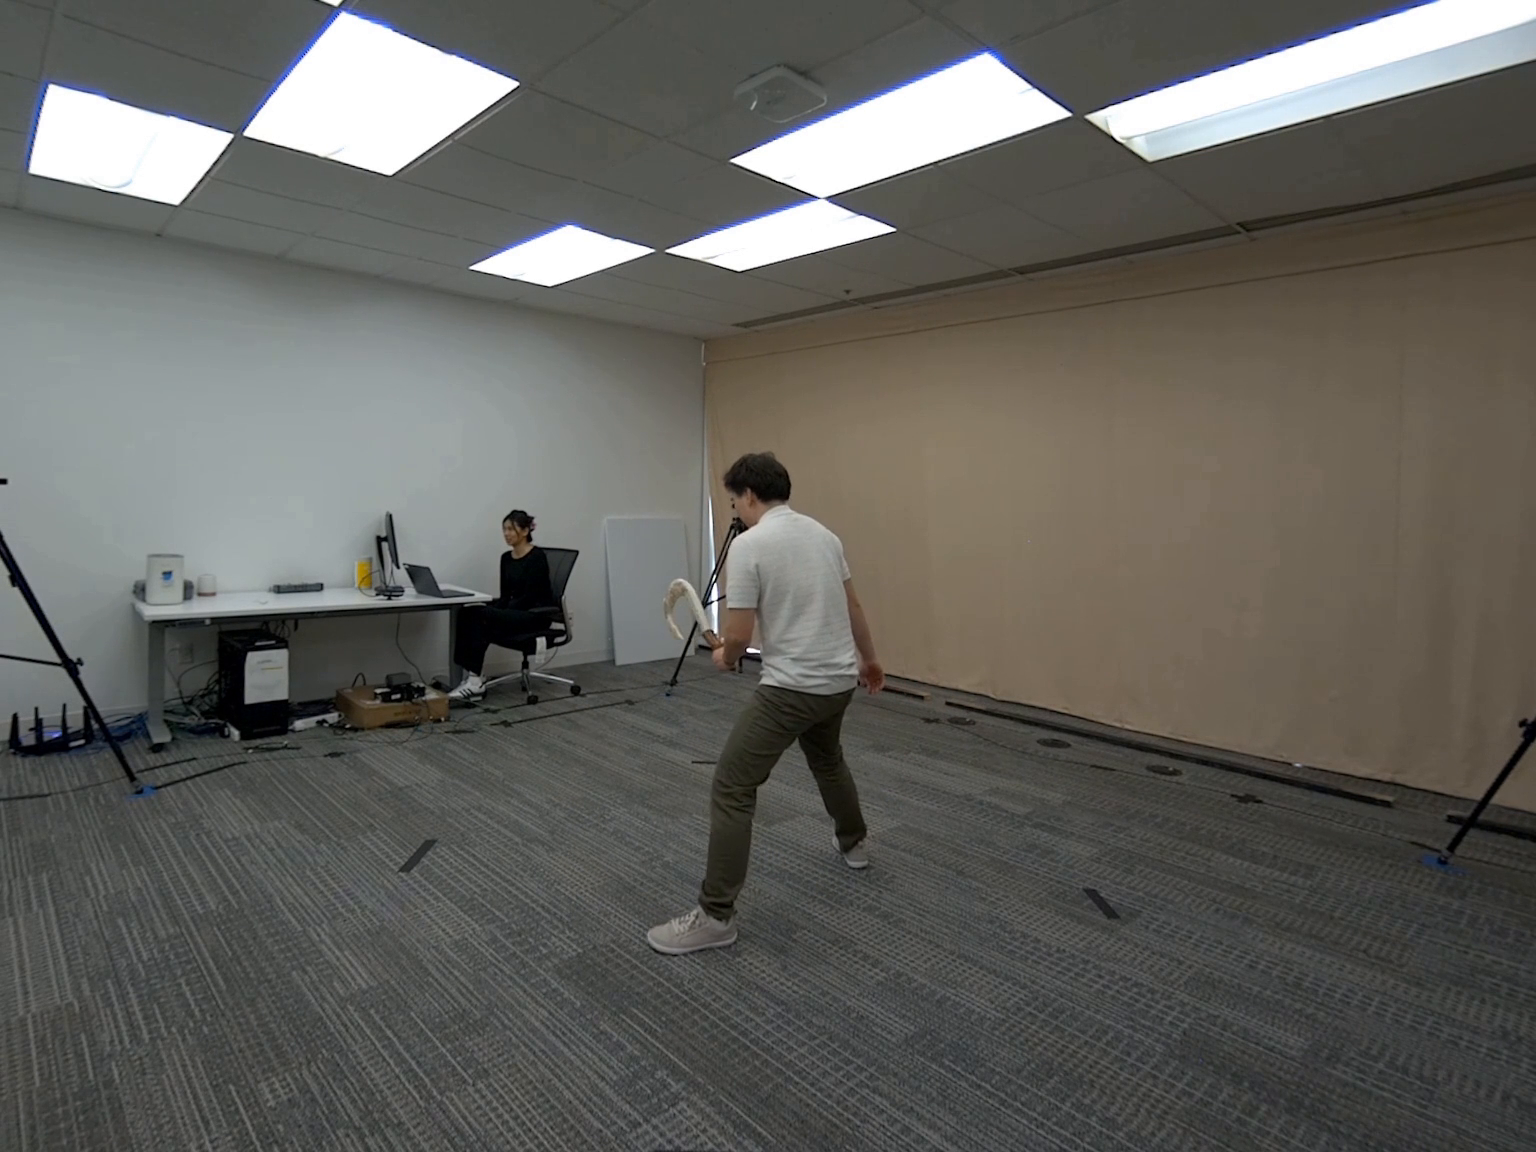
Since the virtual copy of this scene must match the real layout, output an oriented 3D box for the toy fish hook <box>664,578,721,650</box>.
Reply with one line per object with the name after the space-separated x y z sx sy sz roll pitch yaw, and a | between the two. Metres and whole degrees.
-0.276 0.224 3.191 0.047 0.222 0.523 -2 38 -36 | toy fish hook
